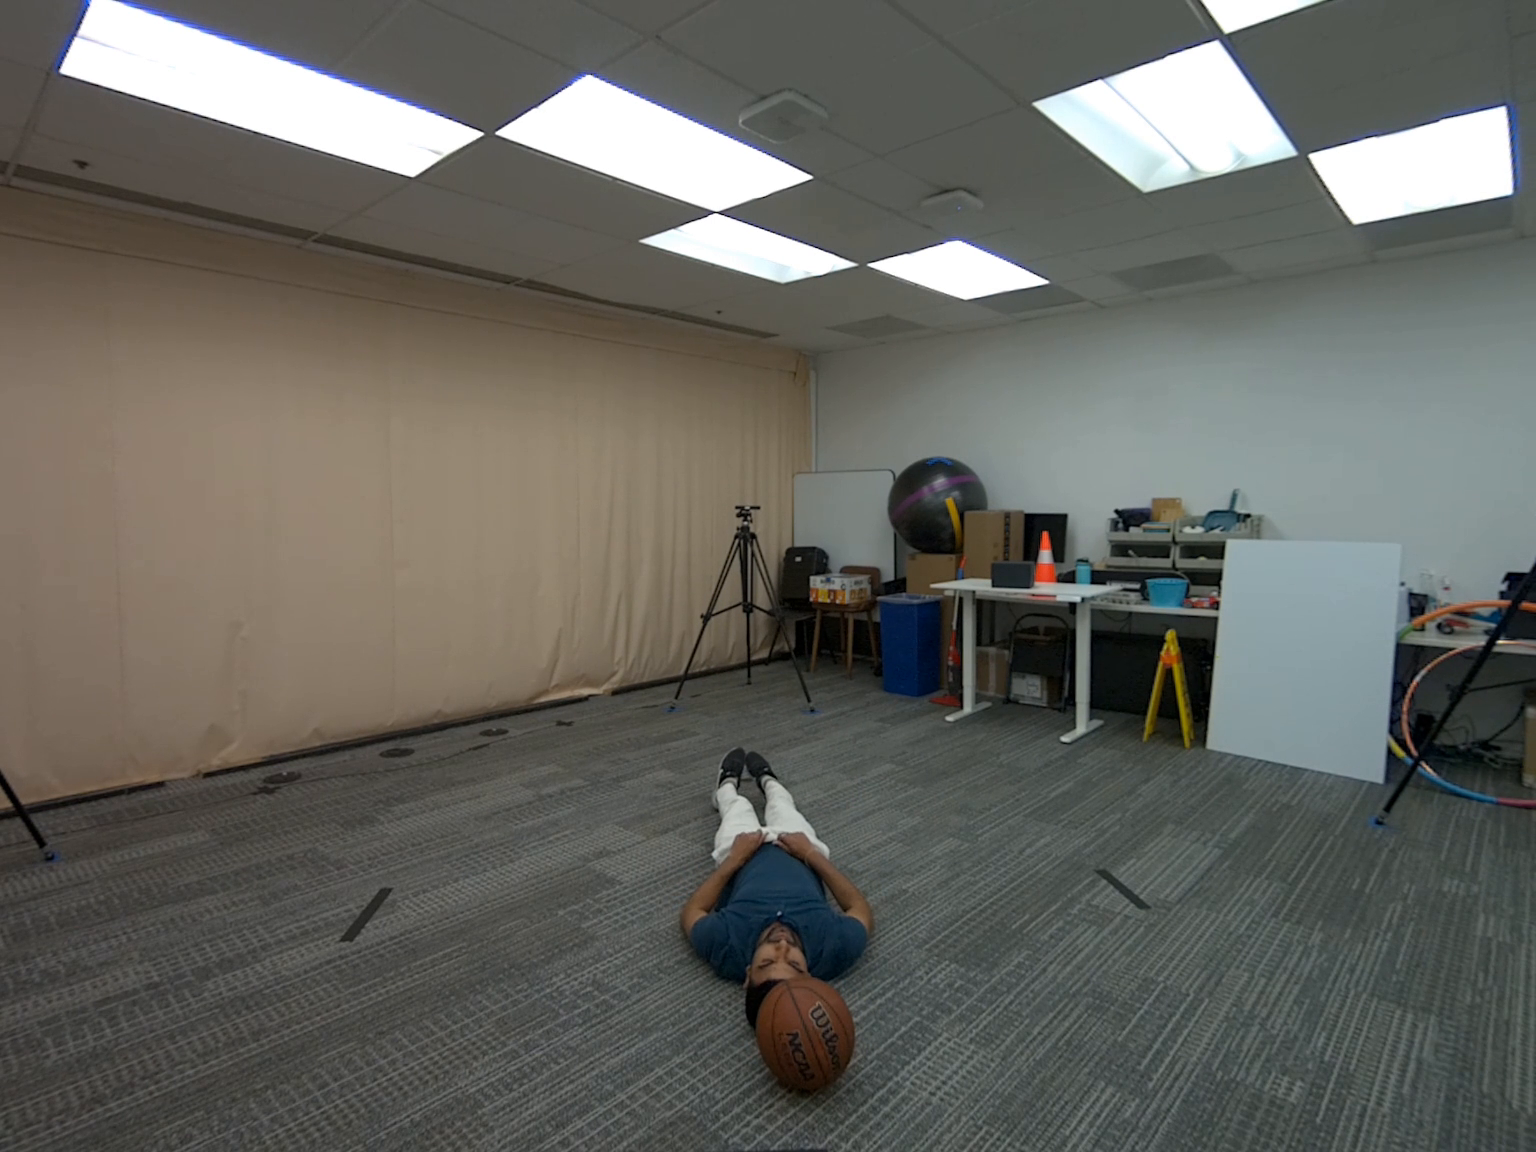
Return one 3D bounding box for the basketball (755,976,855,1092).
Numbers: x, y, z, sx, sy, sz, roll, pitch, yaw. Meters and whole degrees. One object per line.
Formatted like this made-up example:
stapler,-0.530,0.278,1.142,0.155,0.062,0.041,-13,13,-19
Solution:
basketball,0.097,1.106,2.032,0.236,0.235,0.237,0,4,-2
